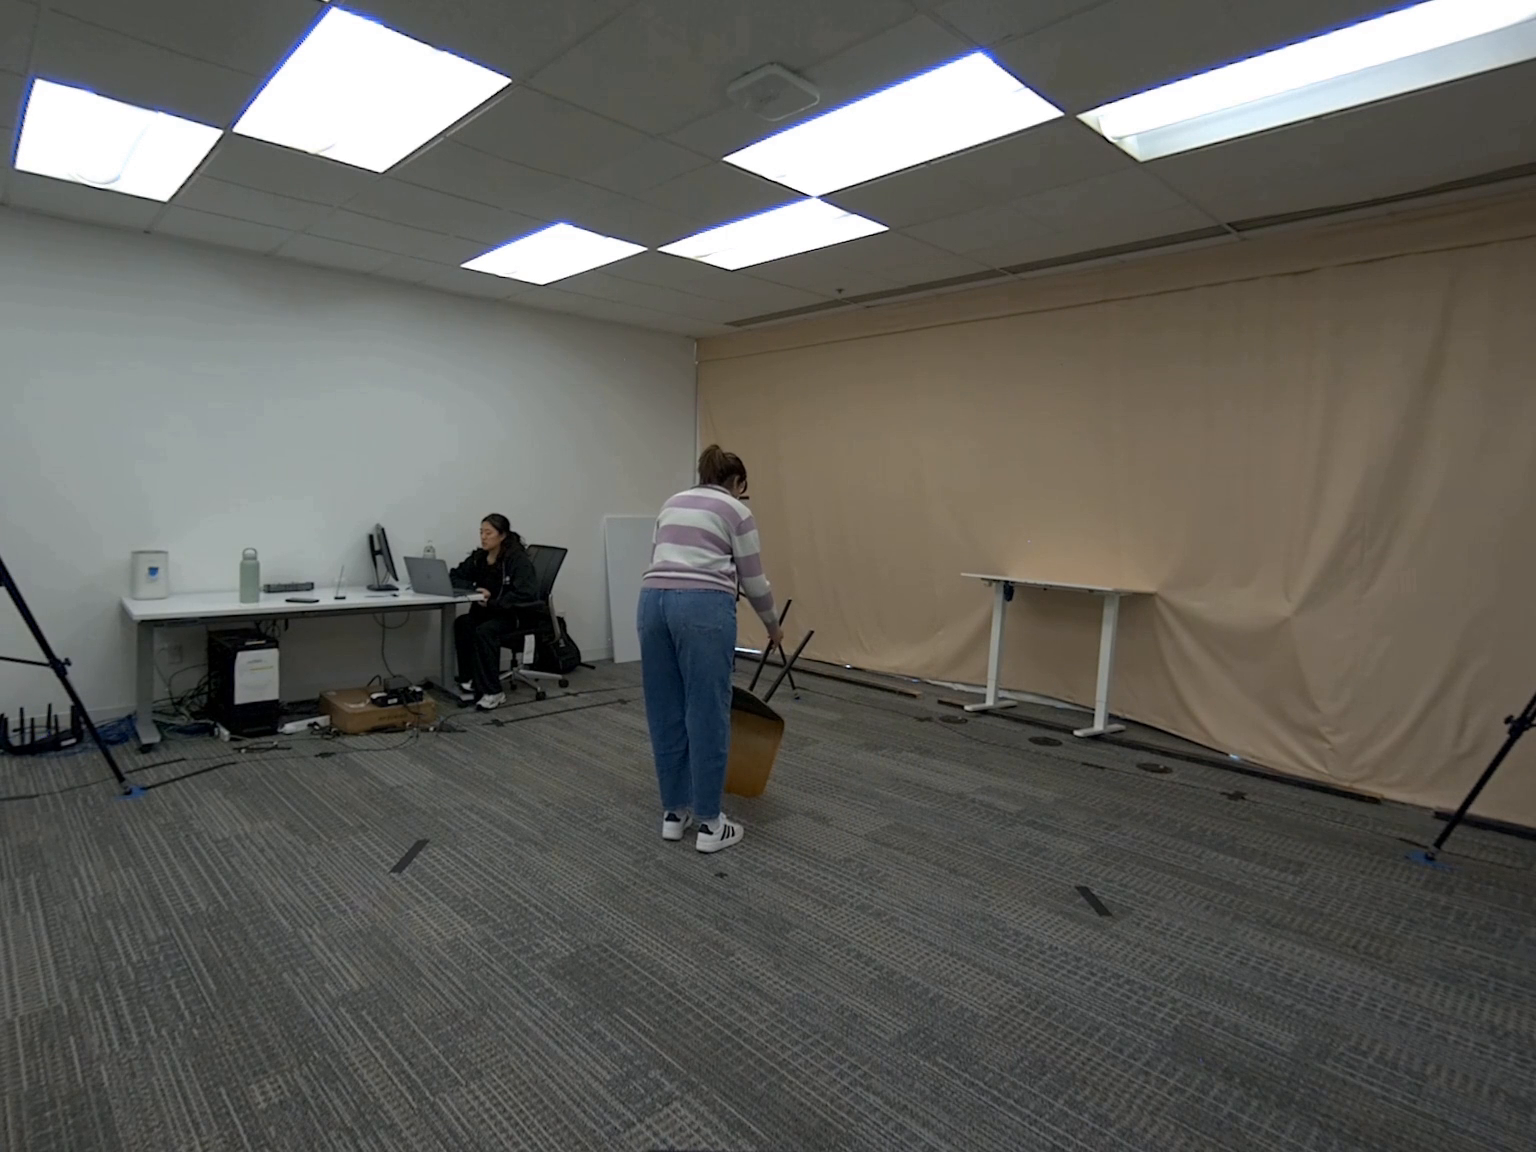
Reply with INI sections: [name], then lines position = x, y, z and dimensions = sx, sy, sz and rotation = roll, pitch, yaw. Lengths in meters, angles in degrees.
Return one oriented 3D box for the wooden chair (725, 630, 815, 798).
[wooden chair]
position = -0.164, 0.540, 3.860
dimensions = 0.487, 0.883, 0.509
rotation = 11, -15, 22
